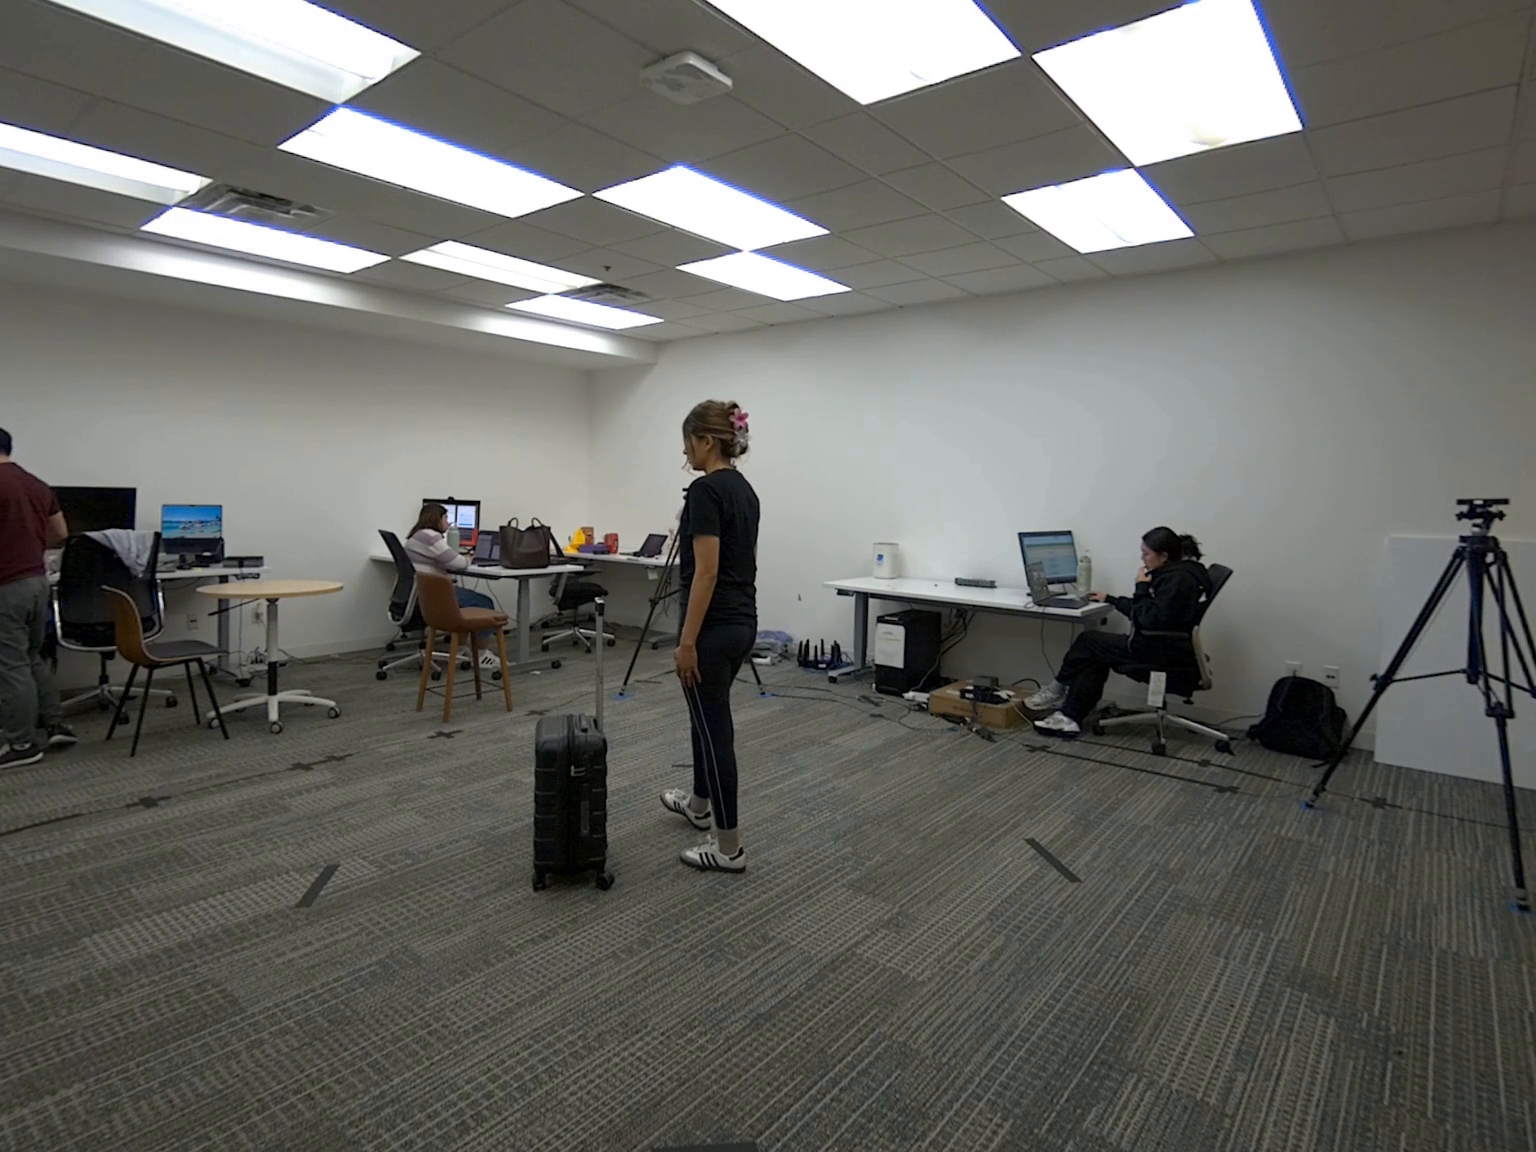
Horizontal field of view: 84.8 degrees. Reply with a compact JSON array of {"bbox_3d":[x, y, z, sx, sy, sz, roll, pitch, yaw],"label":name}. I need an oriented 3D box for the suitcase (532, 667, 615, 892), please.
[{"bbox_3d":[-0.727,0.592,3.059,0.254,0.976,0.390,-2,3,-13],"label":"suitcase"}]
